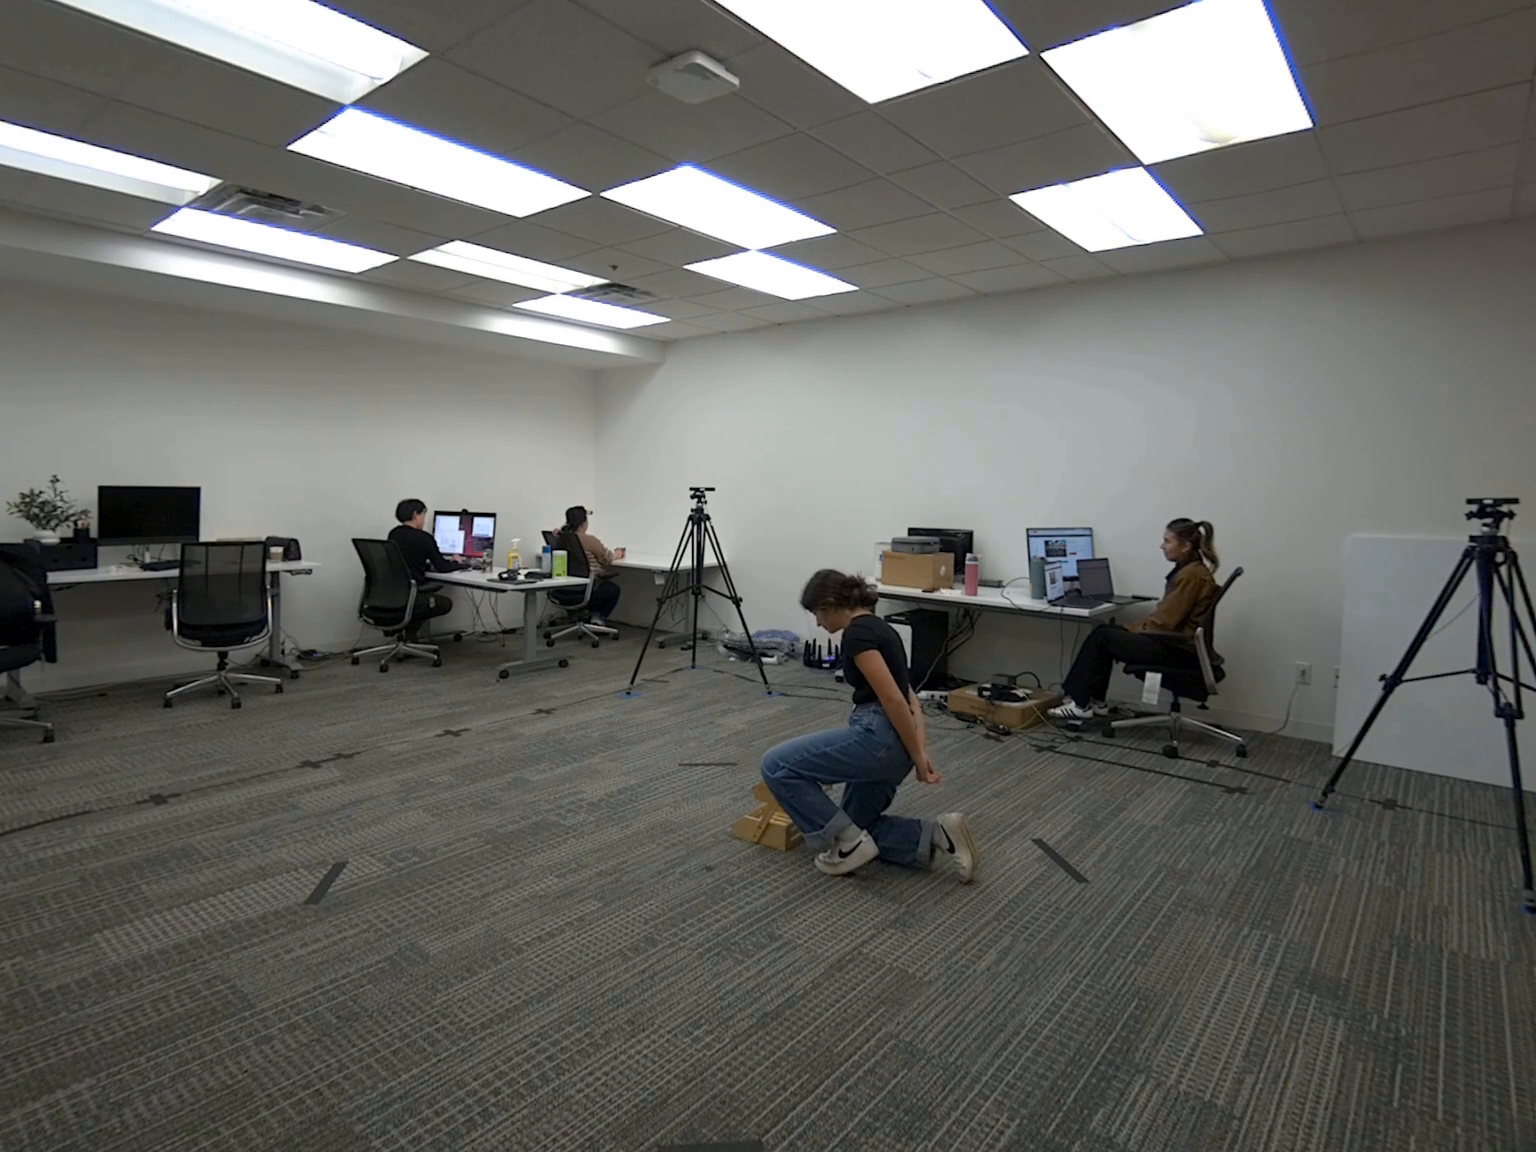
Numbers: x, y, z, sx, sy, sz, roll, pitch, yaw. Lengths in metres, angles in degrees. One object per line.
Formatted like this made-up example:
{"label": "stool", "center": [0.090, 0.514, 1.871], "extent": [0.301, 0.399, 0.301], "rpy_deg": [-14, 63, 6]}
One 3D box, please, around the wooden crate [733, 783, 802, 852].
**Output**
{"label": "wooden crate", "center": [0.048, 0.905, 3.448], "extent": [0.311, 0.272, 0.316], "rpy_deg": [4, 5, 31]}
